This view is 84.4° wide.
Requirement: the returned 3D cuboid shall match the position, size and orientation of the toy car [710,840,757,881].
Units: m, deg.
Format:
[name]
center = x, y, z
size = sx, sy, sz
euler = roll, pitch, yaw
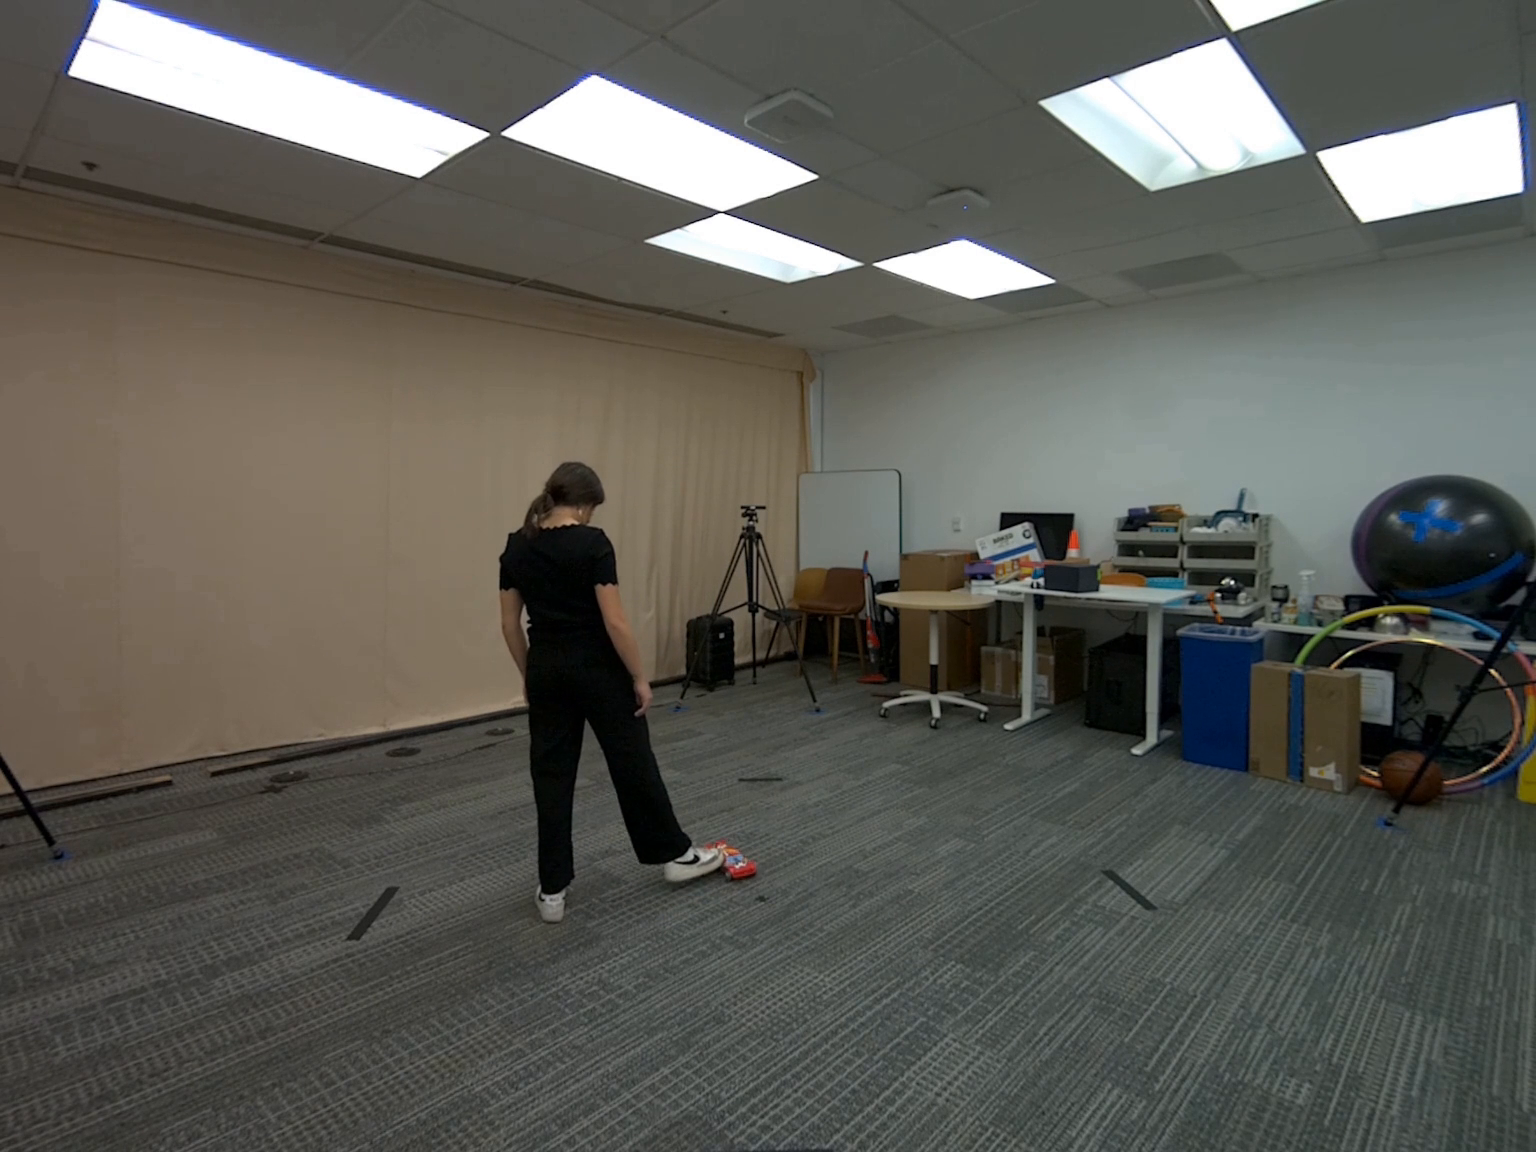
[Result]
[toy car]
center = -0.149, 1.091, 3.229
size = 0.127, 0.082, 0.263
euler = -3, 16, -31
